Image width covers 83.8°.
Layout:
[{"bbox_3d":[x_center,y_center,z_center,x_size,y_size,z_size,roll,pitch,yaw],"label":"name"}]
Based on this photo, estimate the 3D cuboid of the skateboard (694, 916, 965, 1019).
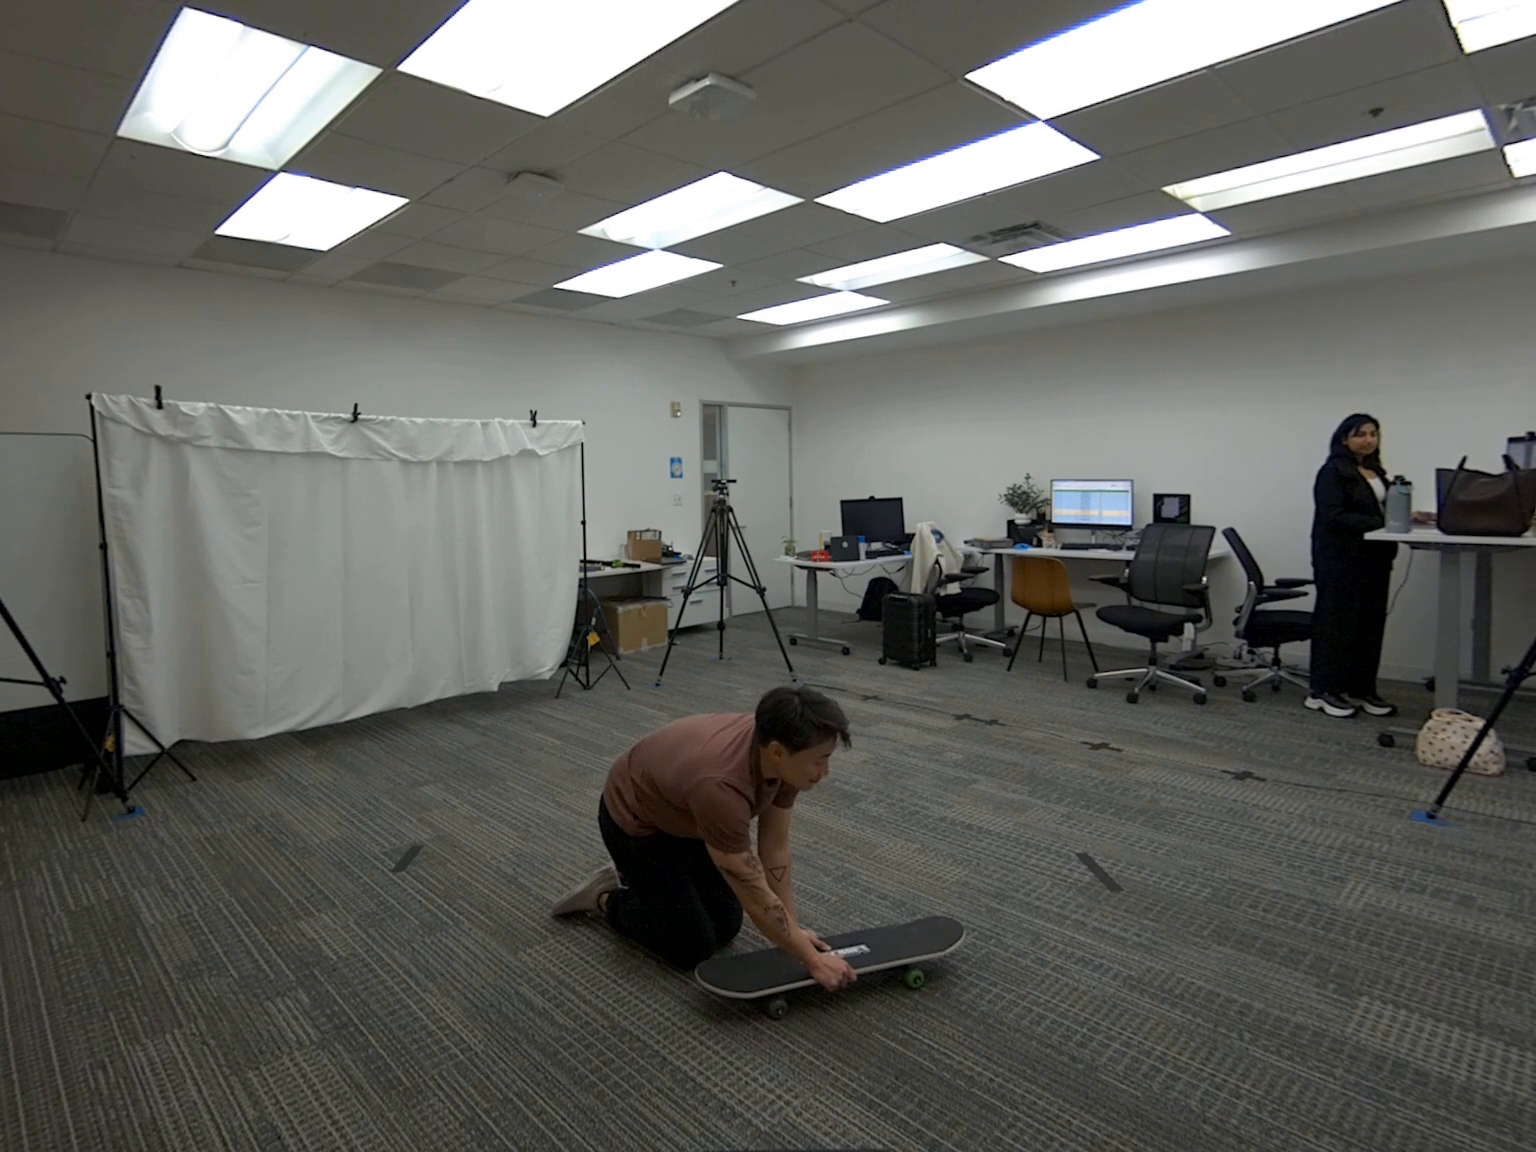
[{"bbox_3d":[0.183,1.071,2.352,0.774,0.110,0.197,-4,4,-16],"label":"skateboard"}]
